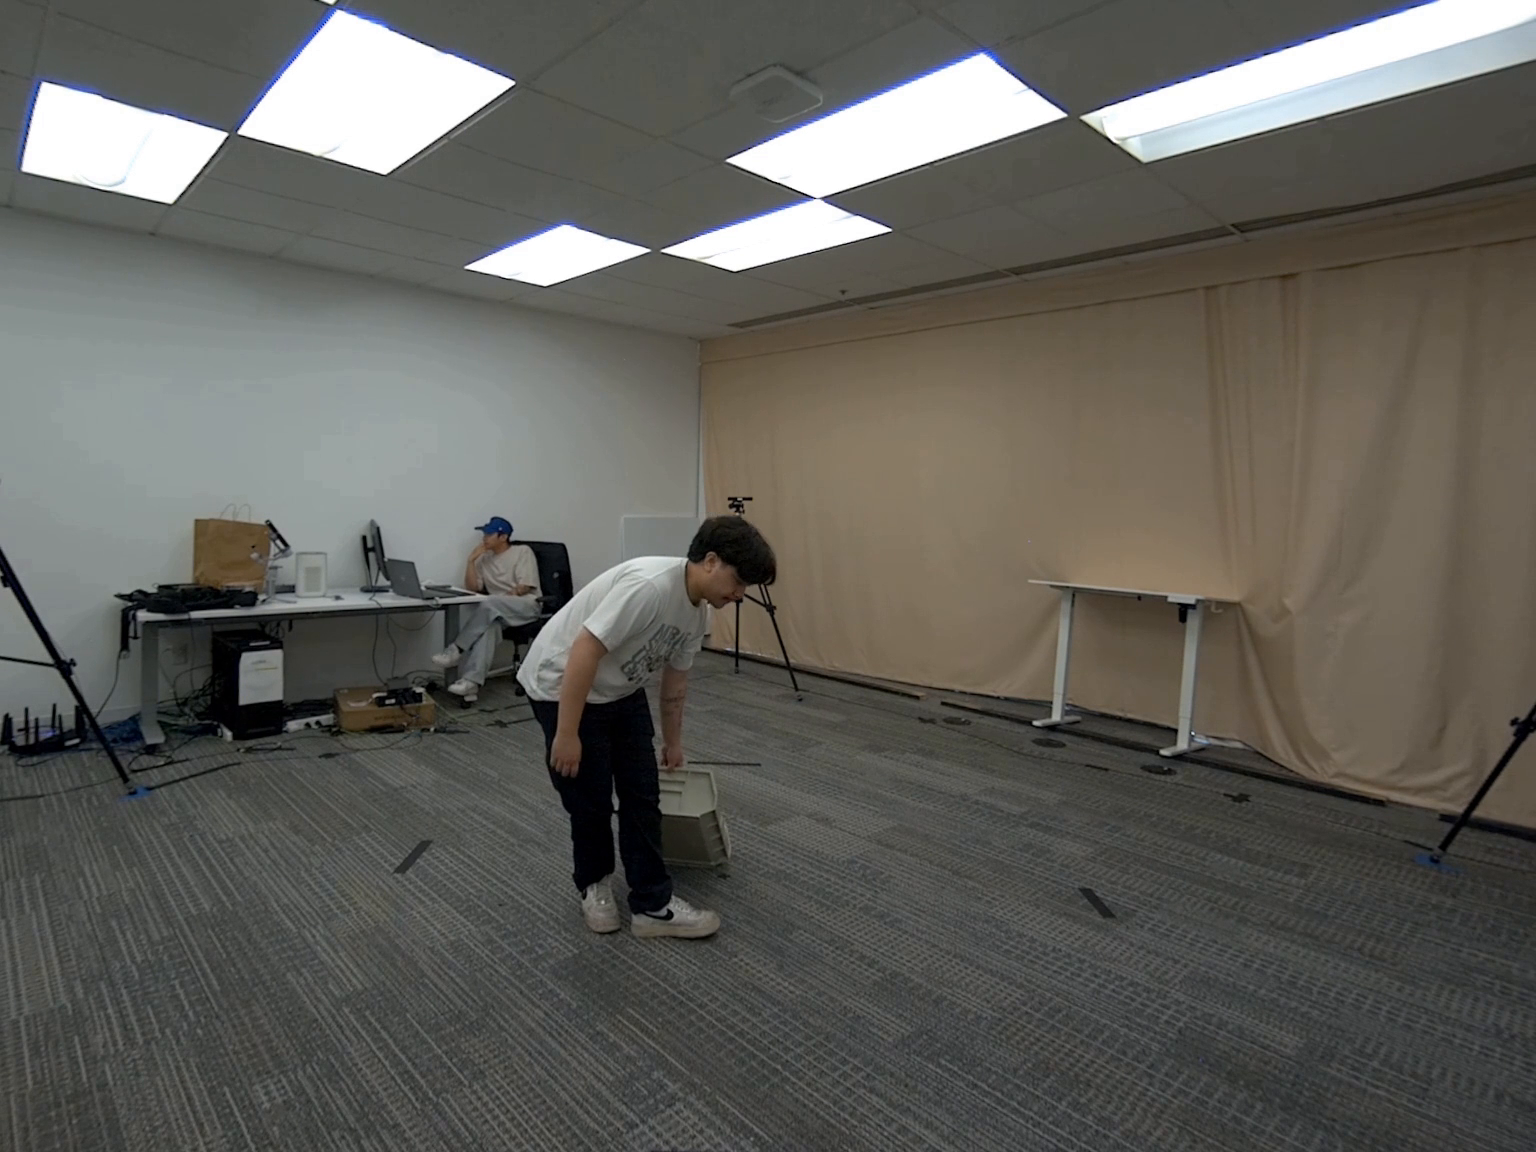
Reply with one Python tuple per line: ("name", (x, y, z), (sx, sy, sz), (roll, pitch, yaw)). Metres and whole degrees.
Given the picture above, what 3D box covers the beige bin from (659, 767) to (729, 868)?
("beige bin", (-0.349, 0.889, 3.105), (0.380, 0.192, 0.412), (2, -42, 9))
